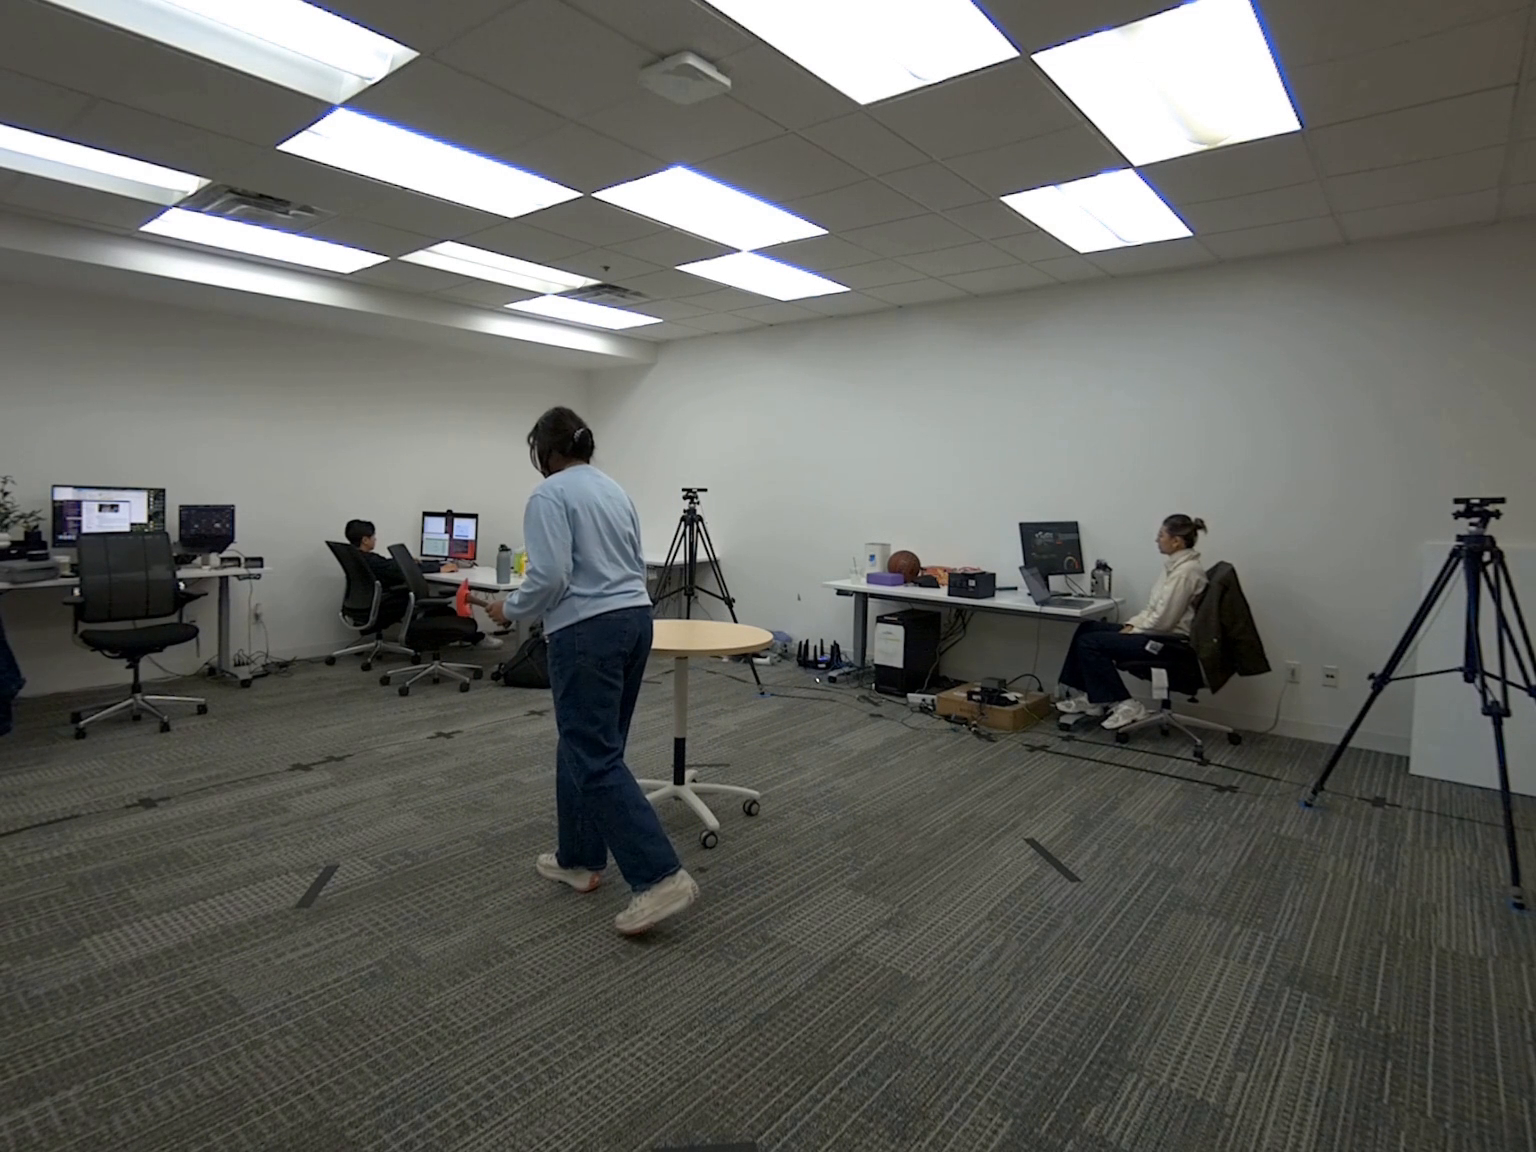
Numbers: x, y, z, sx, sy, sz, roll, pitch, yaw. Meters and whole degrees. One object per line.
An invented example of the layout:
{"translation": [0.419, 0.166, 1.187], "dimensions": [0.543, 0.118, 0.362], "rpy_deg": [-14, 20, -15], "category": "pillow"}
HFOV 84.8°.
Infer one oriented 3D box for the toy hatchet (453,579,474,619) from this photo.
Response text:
{"translation": [-1.000, 0.137, 2.961], "dimensions": [0.278, 0.131, 0.029], "rpy_deg": [33, 7, 23], "category": "toy hatchet"}
